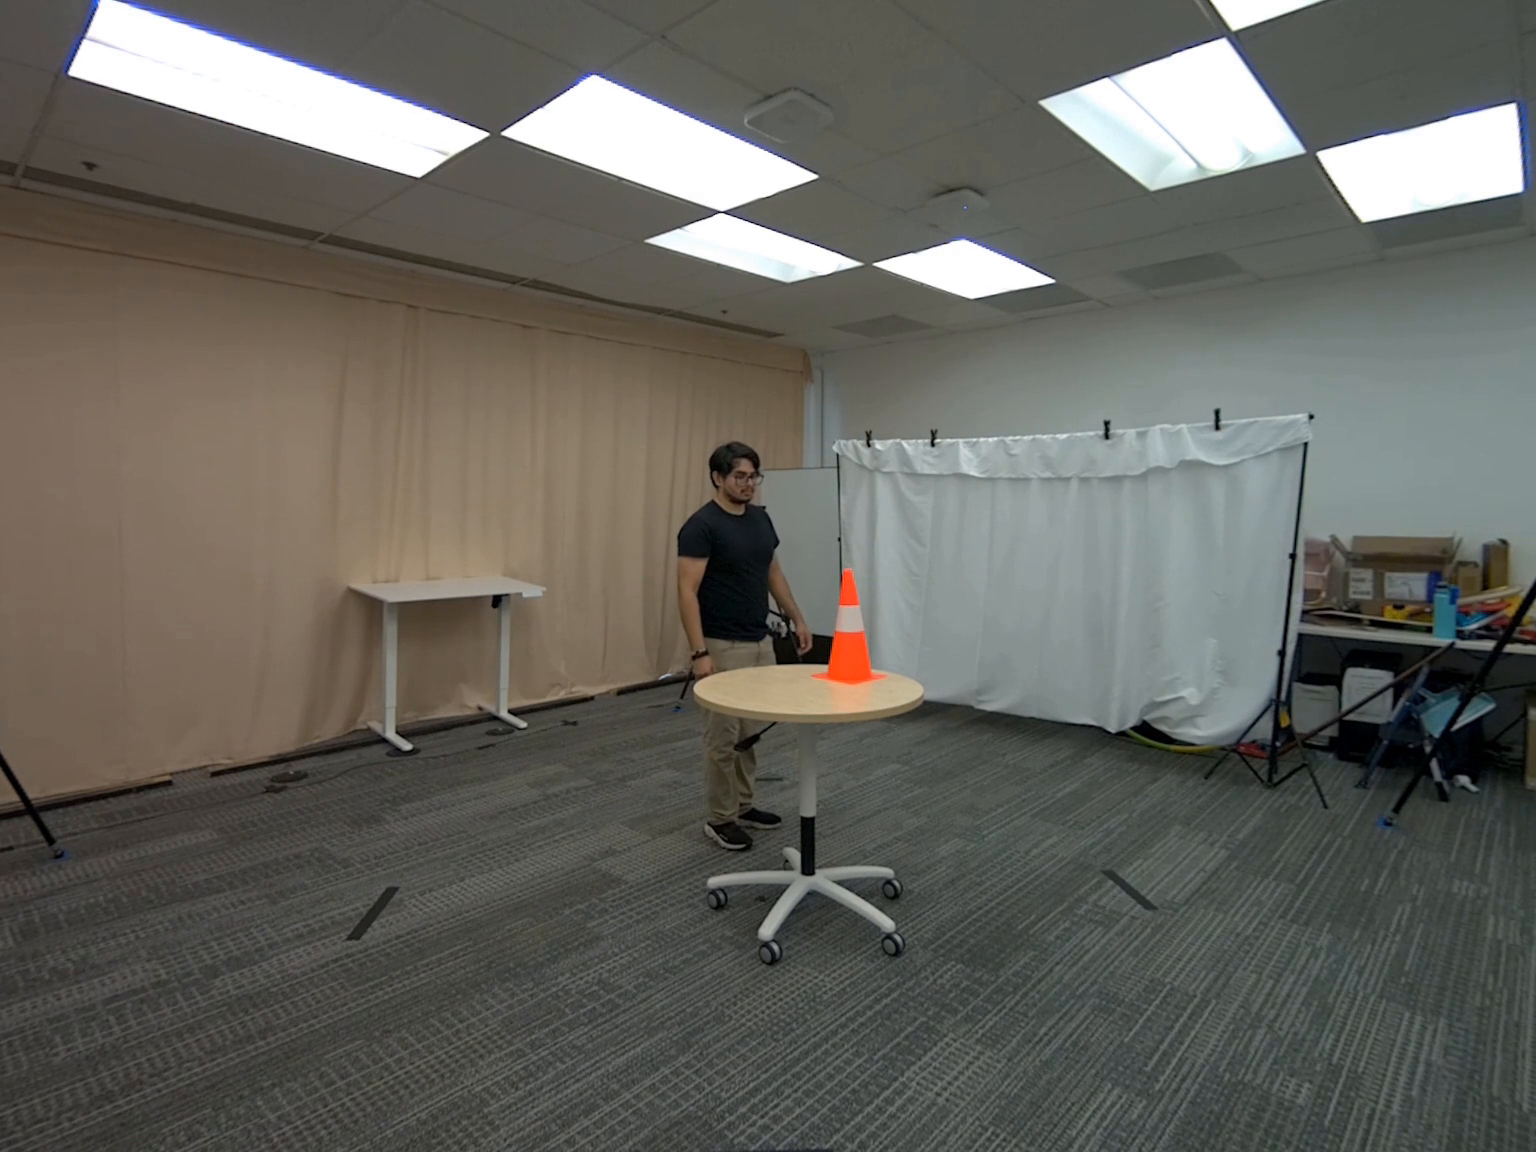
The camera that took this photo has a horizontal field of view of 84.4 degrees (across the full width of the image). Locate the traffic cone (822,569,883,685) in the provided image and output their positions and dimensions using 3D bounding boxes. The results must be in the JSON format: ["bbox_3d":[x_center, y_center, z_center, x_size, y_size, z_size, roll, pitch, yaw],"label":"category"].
[{"bbox_3d":[0.292,0.171,2.977,0.211,0.383,0.198,1,4,32],"label":"traffic cone"}]
